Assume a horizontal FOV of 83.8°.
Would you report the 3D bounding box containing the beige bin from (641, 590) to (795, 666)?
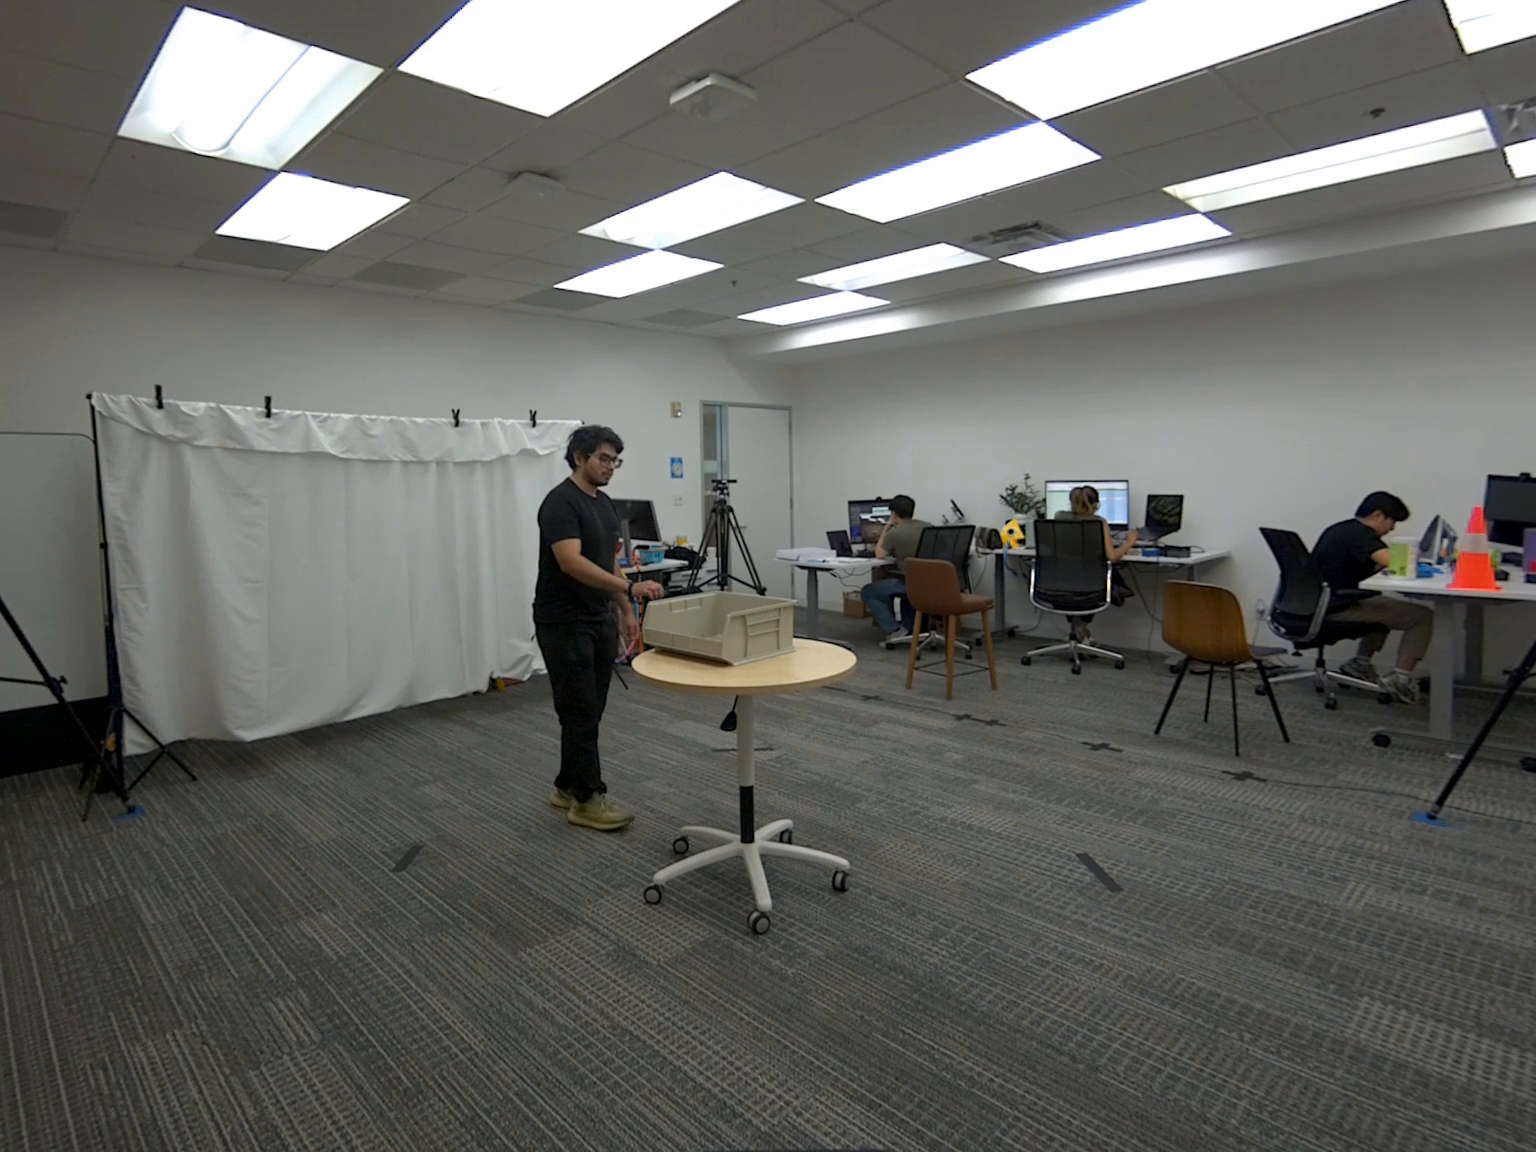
[{"bbox_3d":[-0.170,0.182,3.047,0.435,0.188,0.367,4,7,44],"label":"beige bin"}]
